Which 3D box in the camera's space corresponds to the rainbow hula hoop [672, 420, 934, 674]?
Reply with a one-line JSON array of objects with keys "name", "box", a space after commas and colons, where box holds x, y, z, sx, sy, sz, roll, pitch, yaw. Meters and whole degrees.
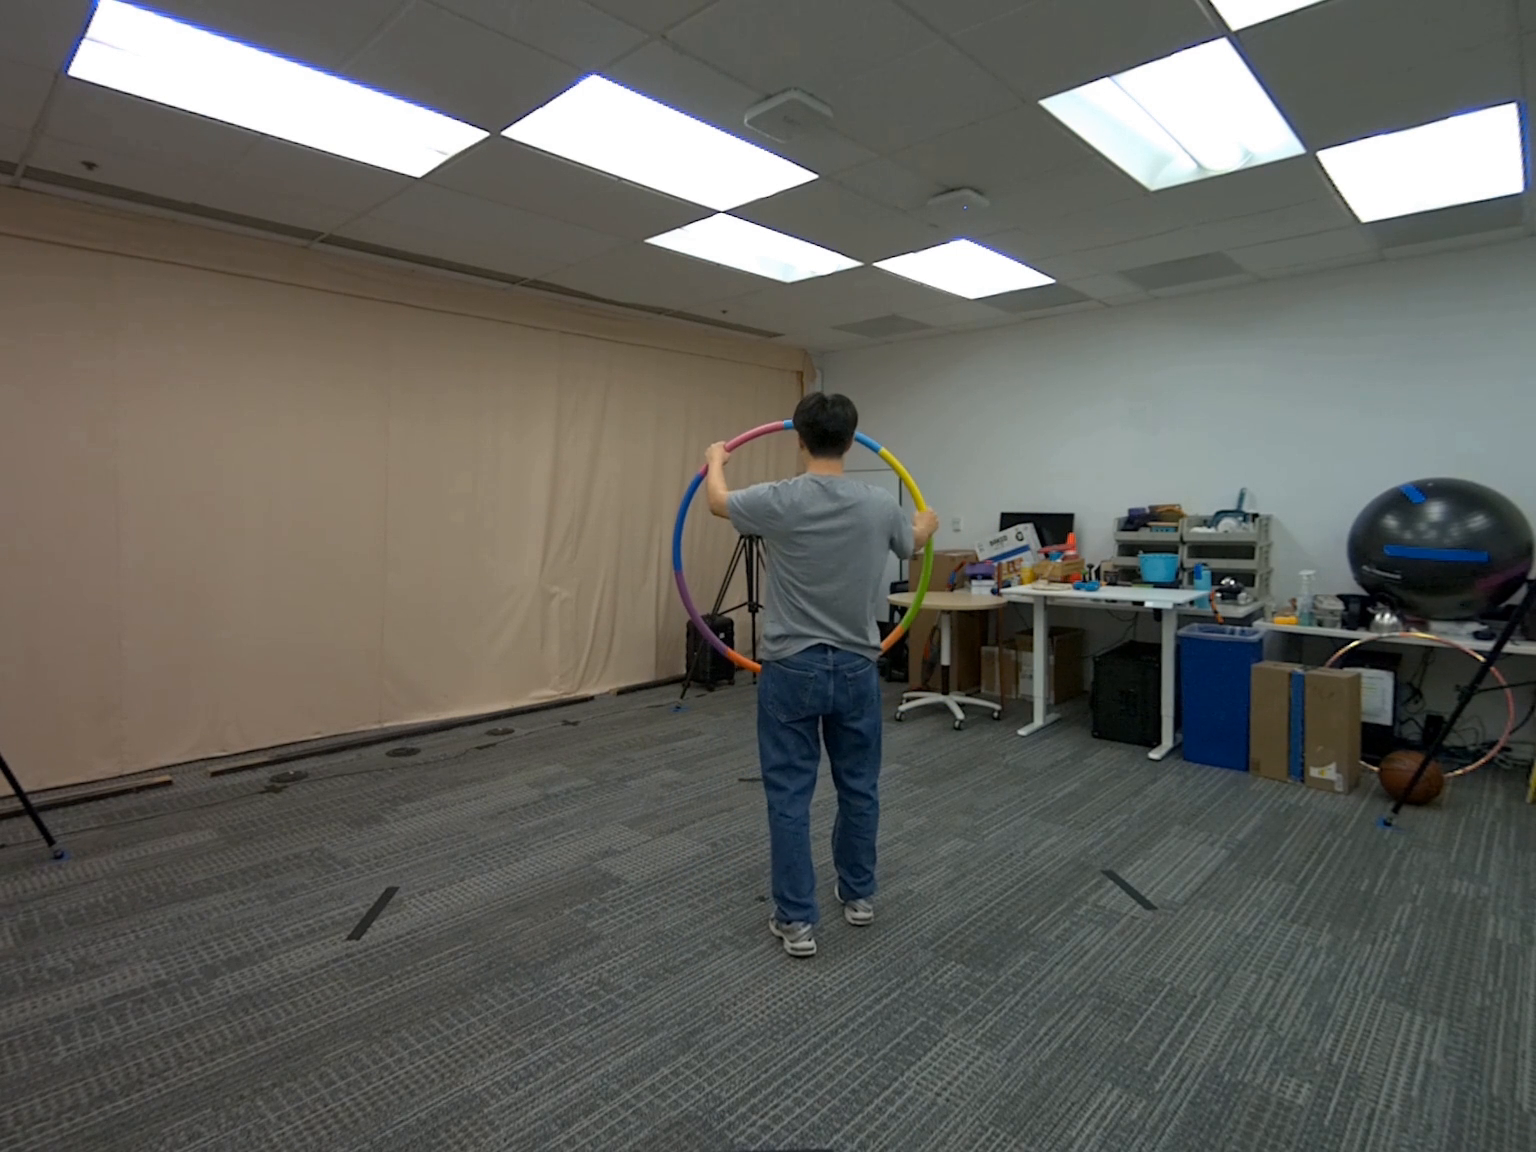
[{"name": "rainbow hula hoop", "box": [0.135, -0.085, 3.175, 0.980, 0.974, 0.035, 0, 7, 2]}]
